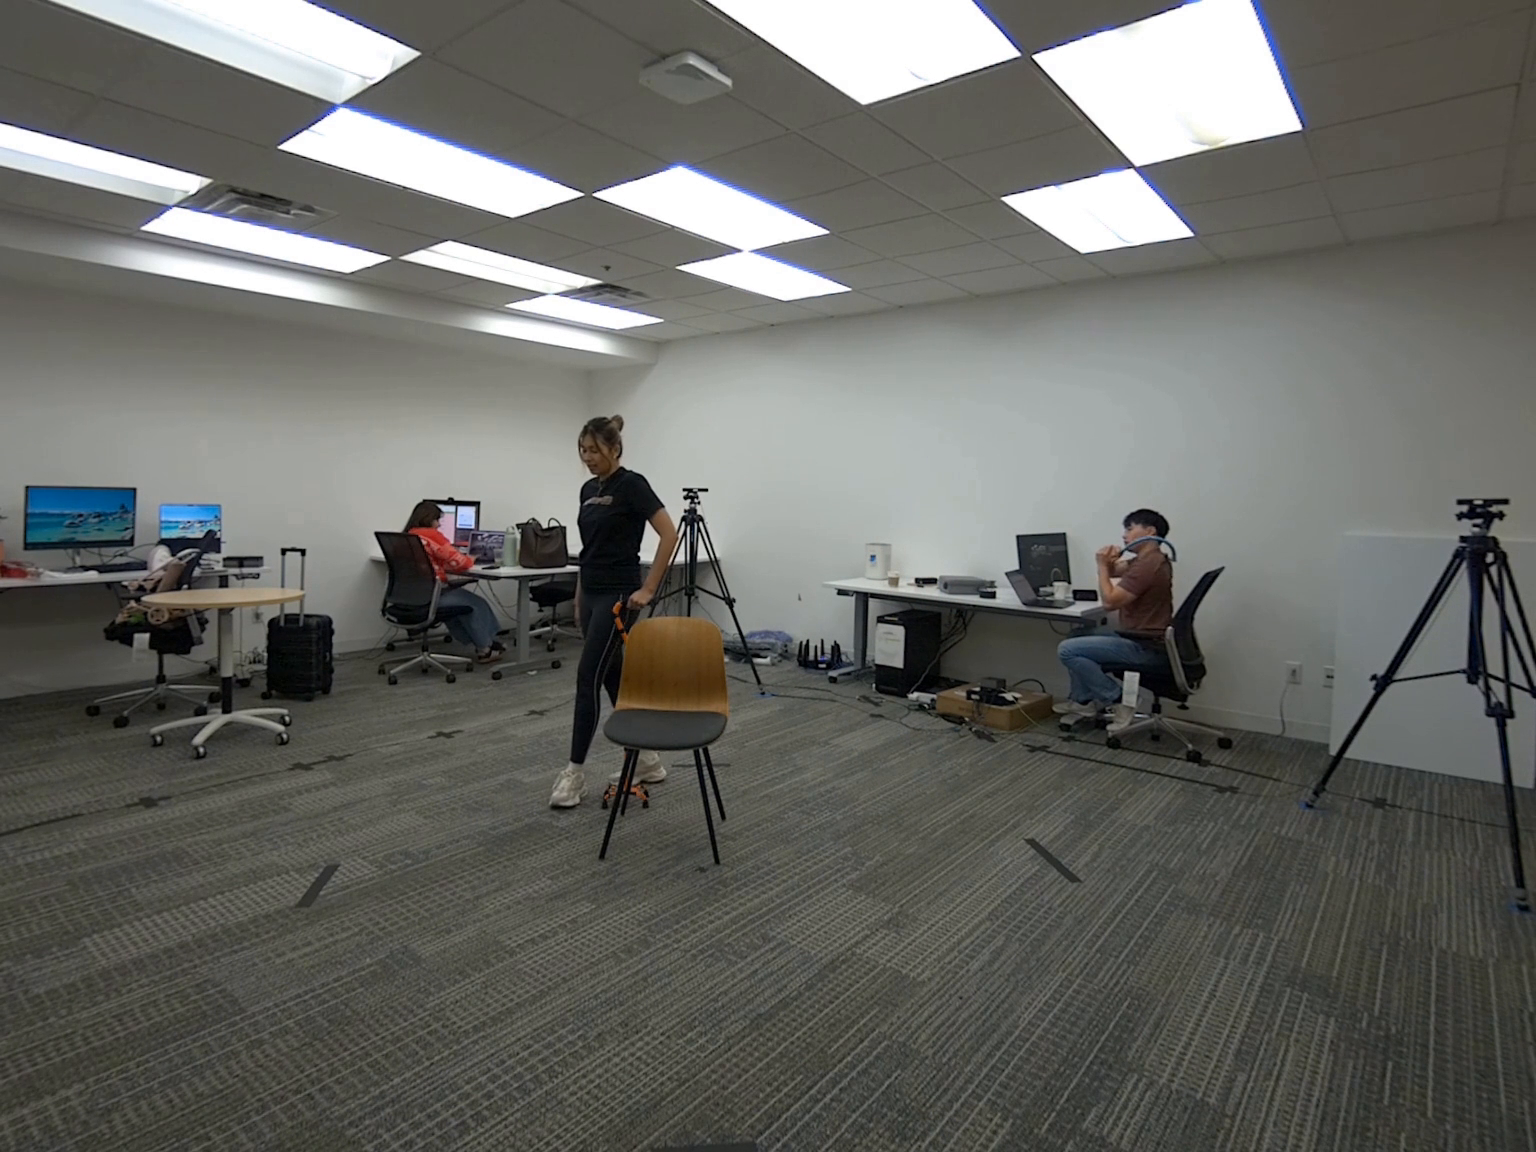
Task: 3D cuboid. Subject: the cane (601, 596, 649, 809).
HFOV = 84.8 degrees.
[{"bbox_3d":[-0.619,0.545,3.749,0.203,0.907,0.154,4,1,-16],"label":"cane"}]
